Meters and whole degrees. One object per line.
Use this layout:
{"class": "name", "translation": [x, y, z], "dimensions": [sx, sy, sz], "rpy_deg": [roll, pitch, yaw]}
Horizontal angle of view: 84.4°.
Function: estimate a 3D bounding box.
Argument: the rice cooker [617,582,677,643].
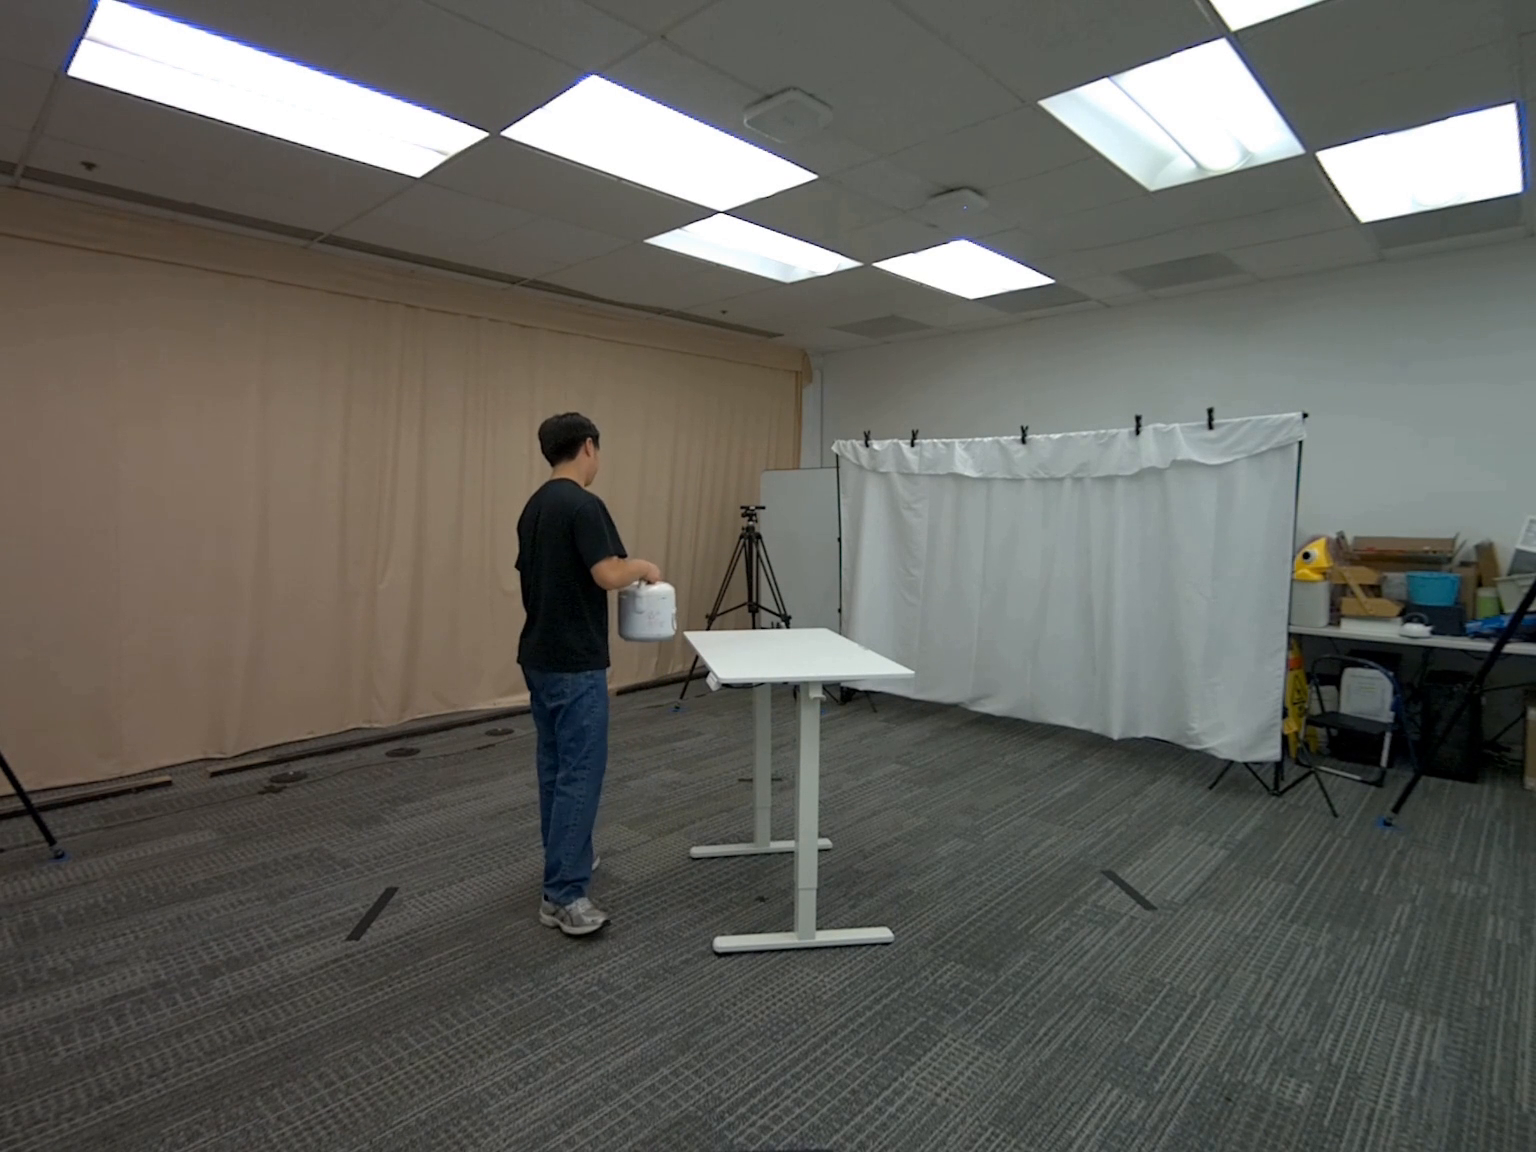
{"class": "rice cooker", "translation": [-0.443, 0.118, 3.075], "dimensions": [0.220, 0.232, 0.218], "rpy_deg": [0, 3, 9]}
